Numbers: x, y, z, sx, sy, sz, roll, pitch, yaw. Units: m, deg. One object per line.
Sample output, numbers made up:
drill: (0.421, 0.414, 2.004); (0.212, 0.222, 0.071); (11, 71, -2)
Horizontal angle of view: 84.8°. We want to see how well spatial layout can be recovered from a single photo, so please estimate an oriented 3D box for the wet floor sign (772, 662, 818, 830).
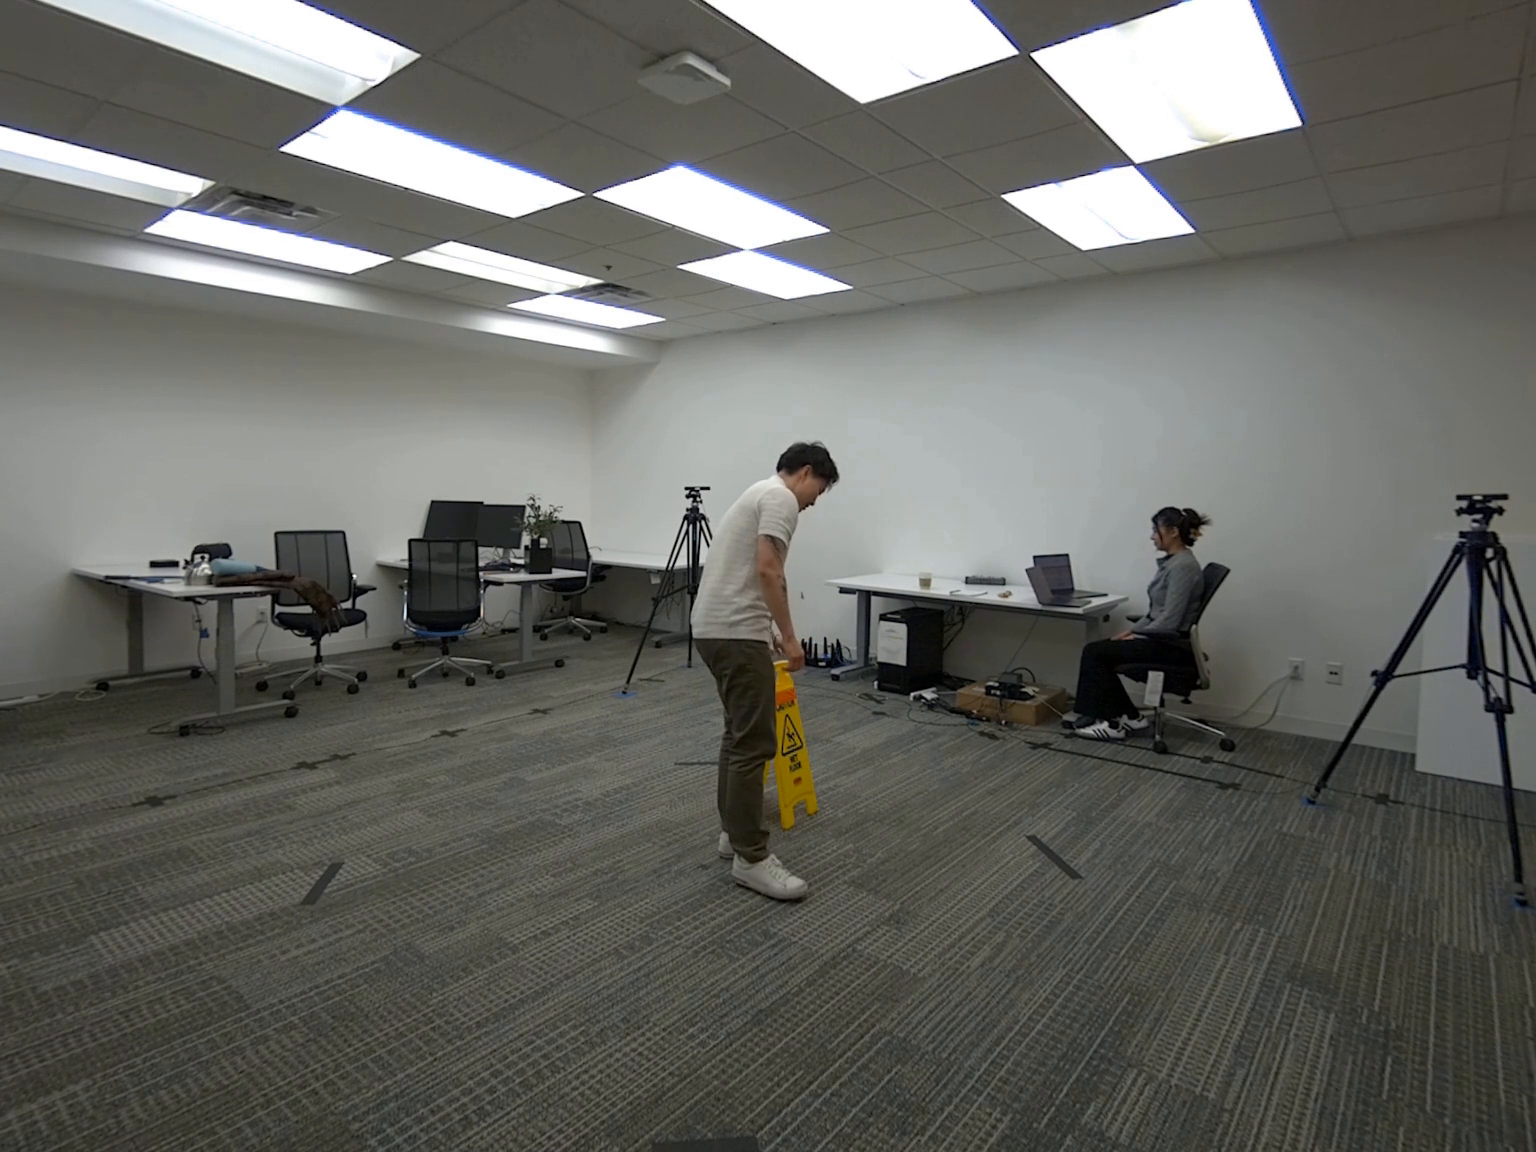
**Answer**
wet floor sign: (0.022, 0.694, 3.652); (0.299, 0.644, 0.274); (3, 4, 34)
